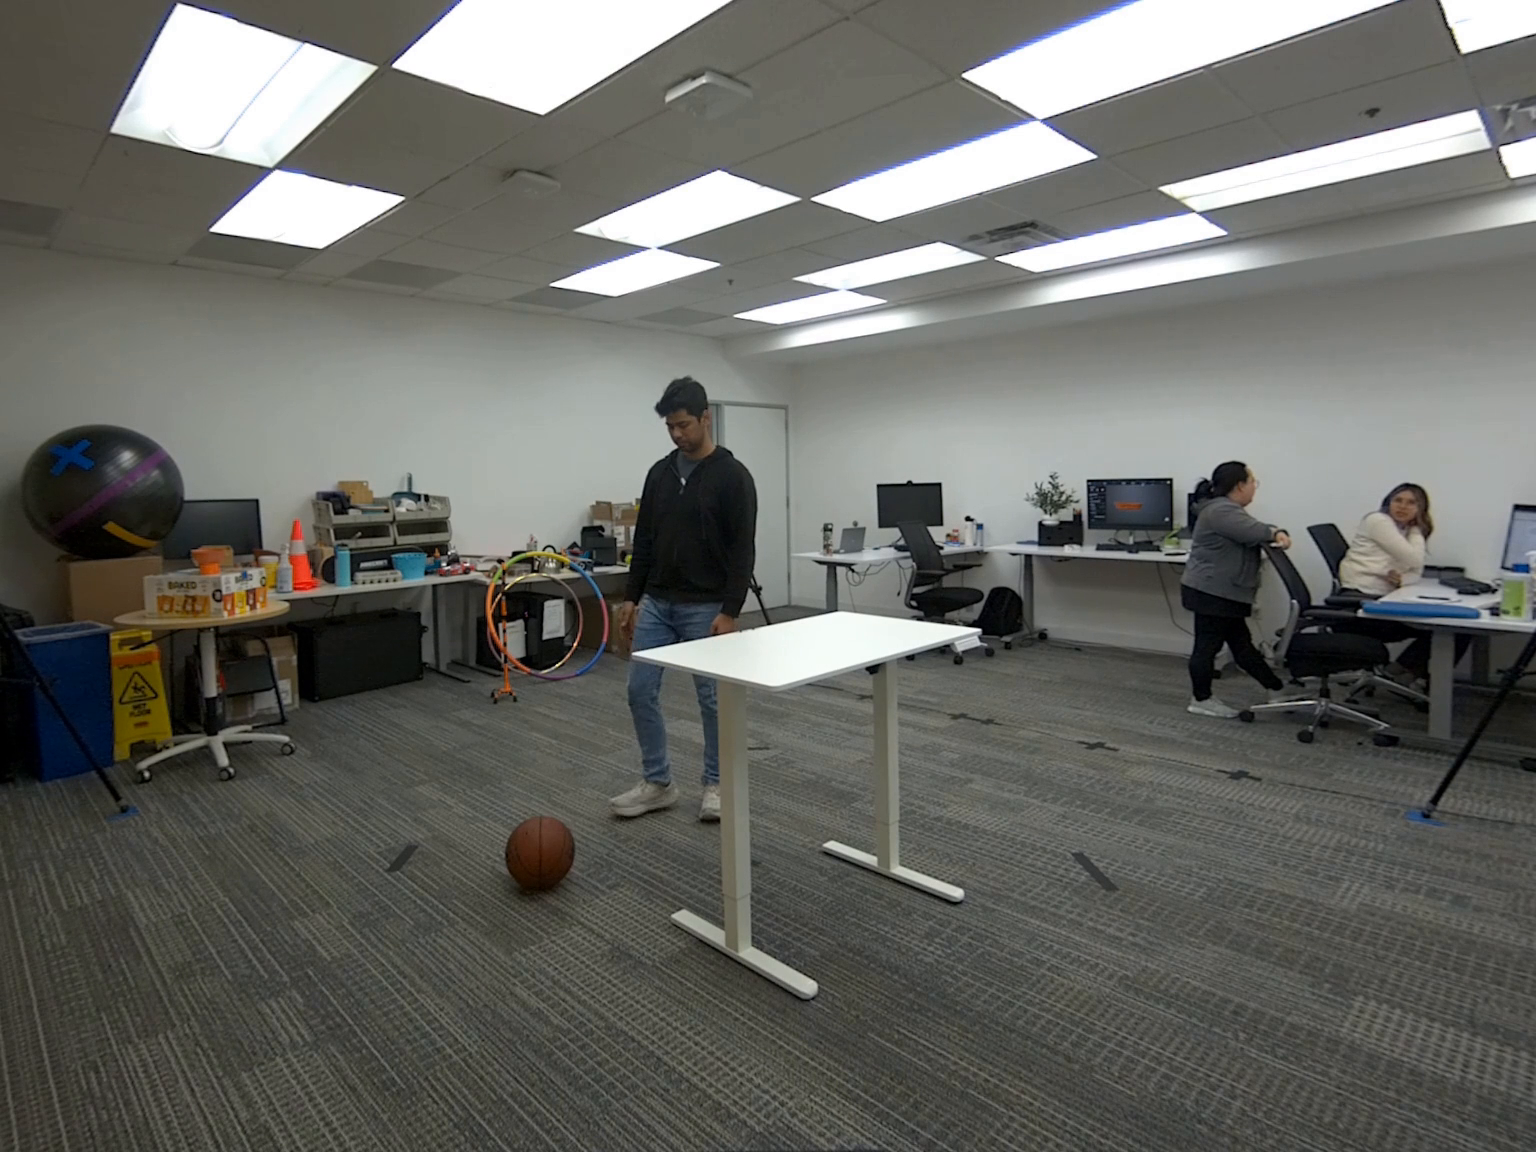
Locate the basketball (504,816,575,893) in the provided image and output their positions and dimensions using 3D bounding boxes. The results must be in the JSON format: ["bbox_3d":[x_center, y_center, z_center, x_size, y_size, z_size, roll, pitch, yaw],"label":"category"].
[{"bbox_3d":[-0.785,0.951,2.955,0.236,0.235,0.237,-1,5,-2],"label":"basketball"}]
